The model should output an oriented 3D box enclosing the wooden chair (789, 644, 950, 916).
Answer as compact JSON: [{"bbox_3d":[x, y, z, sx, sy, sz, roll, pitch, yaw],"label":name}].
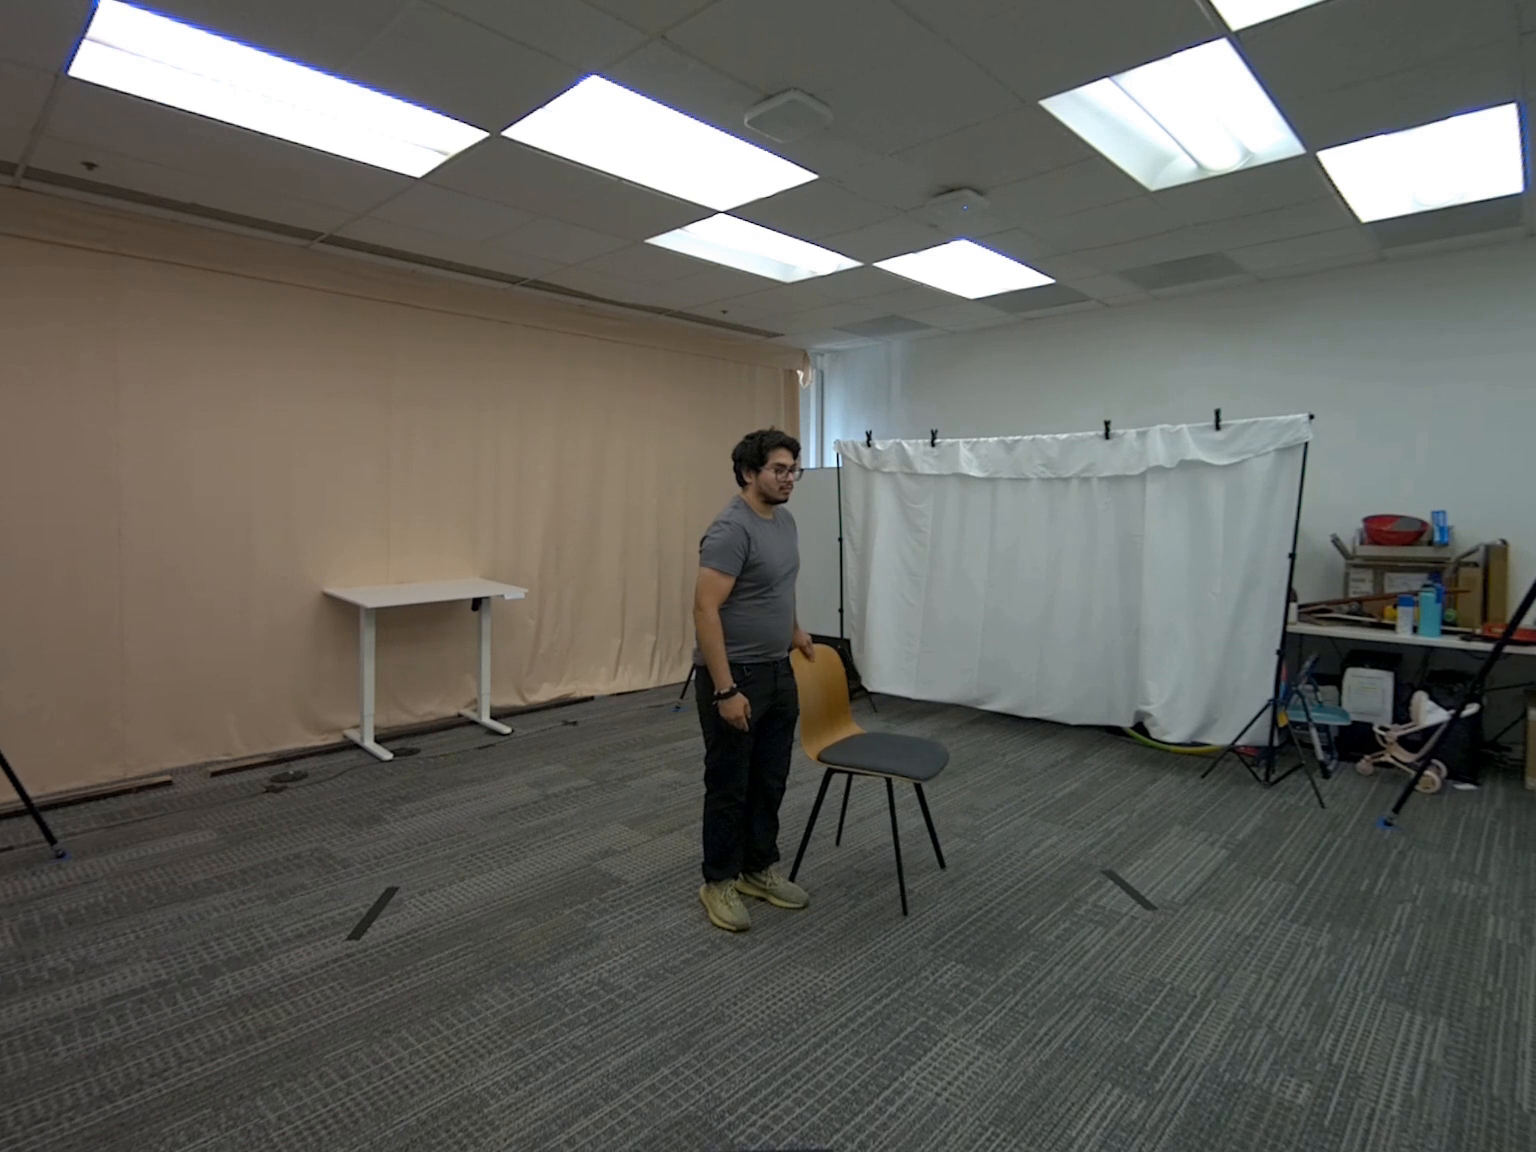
[{"bbox_3d":[0.386,0.702,3.128,0.537,0.877,0.465,-3,1,30],"label":"wooden chair"}]
